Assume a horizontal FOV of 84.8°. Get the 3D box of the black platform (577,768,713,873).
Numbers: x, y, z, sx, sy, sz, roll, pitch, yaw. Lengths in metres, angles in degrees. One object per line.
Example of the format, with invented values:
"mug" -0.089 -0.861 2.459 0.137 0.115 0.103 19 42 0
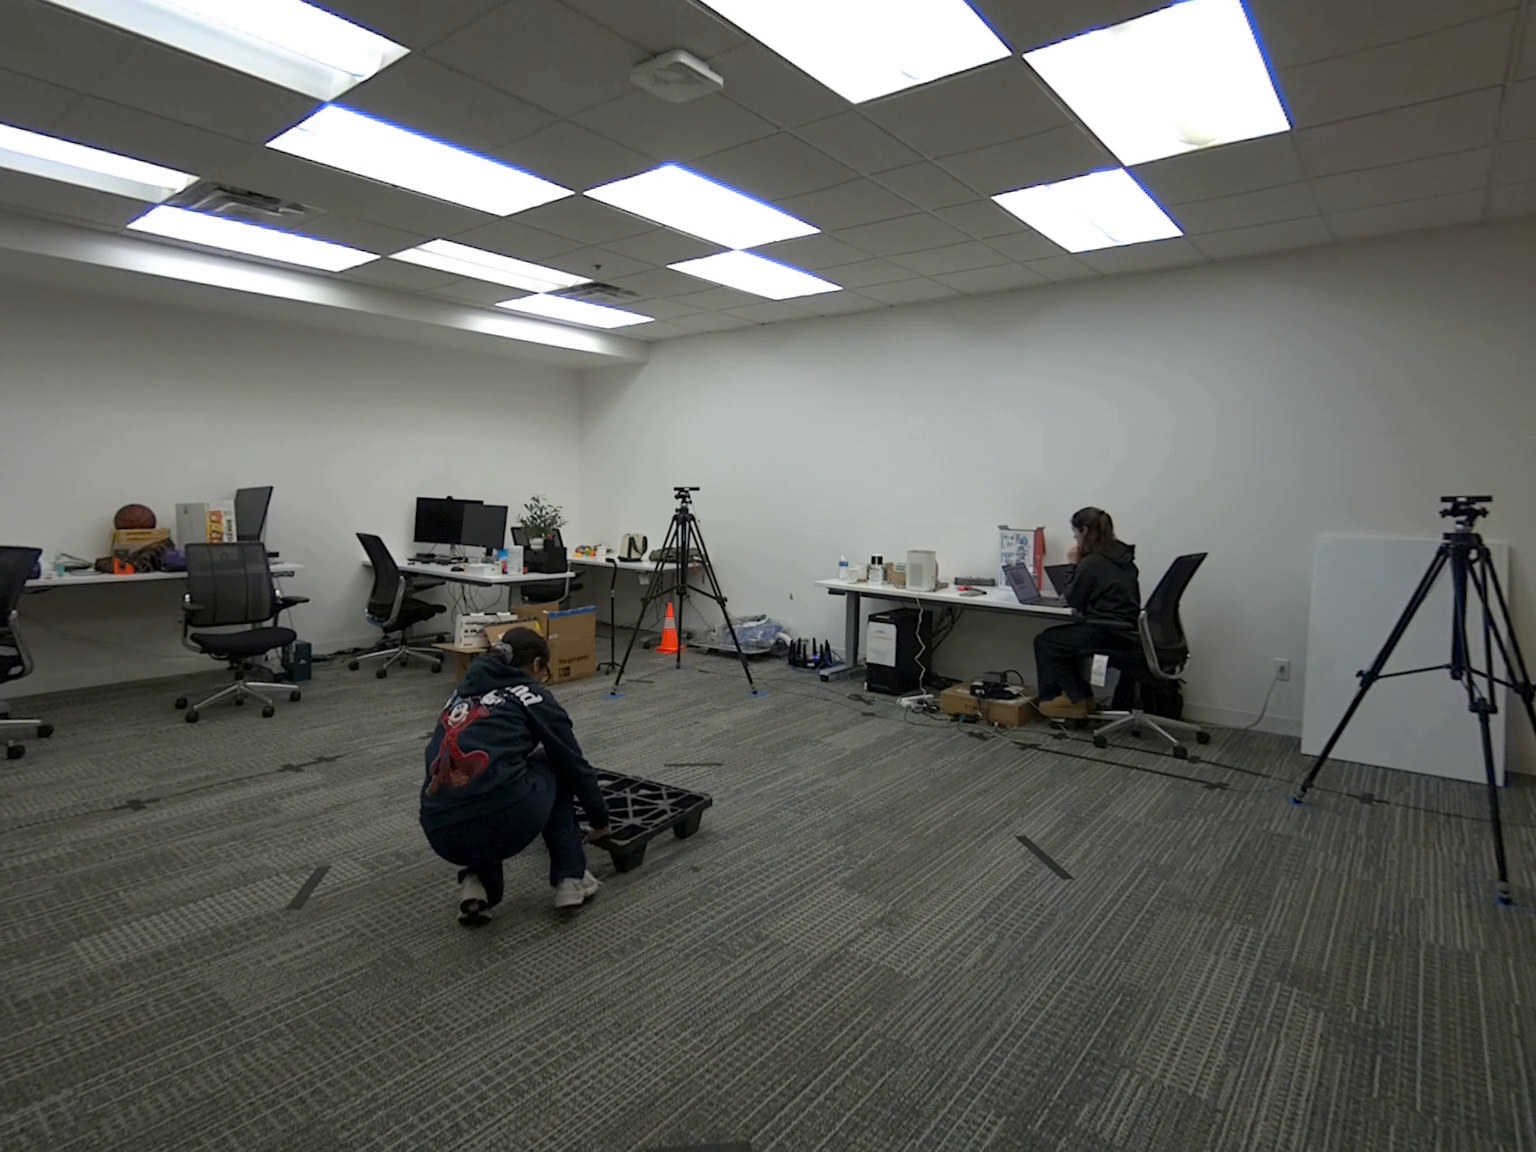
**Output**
"black platform" -0.721 0.958 3.437 0.830 0.143 0.589 4 6 31
